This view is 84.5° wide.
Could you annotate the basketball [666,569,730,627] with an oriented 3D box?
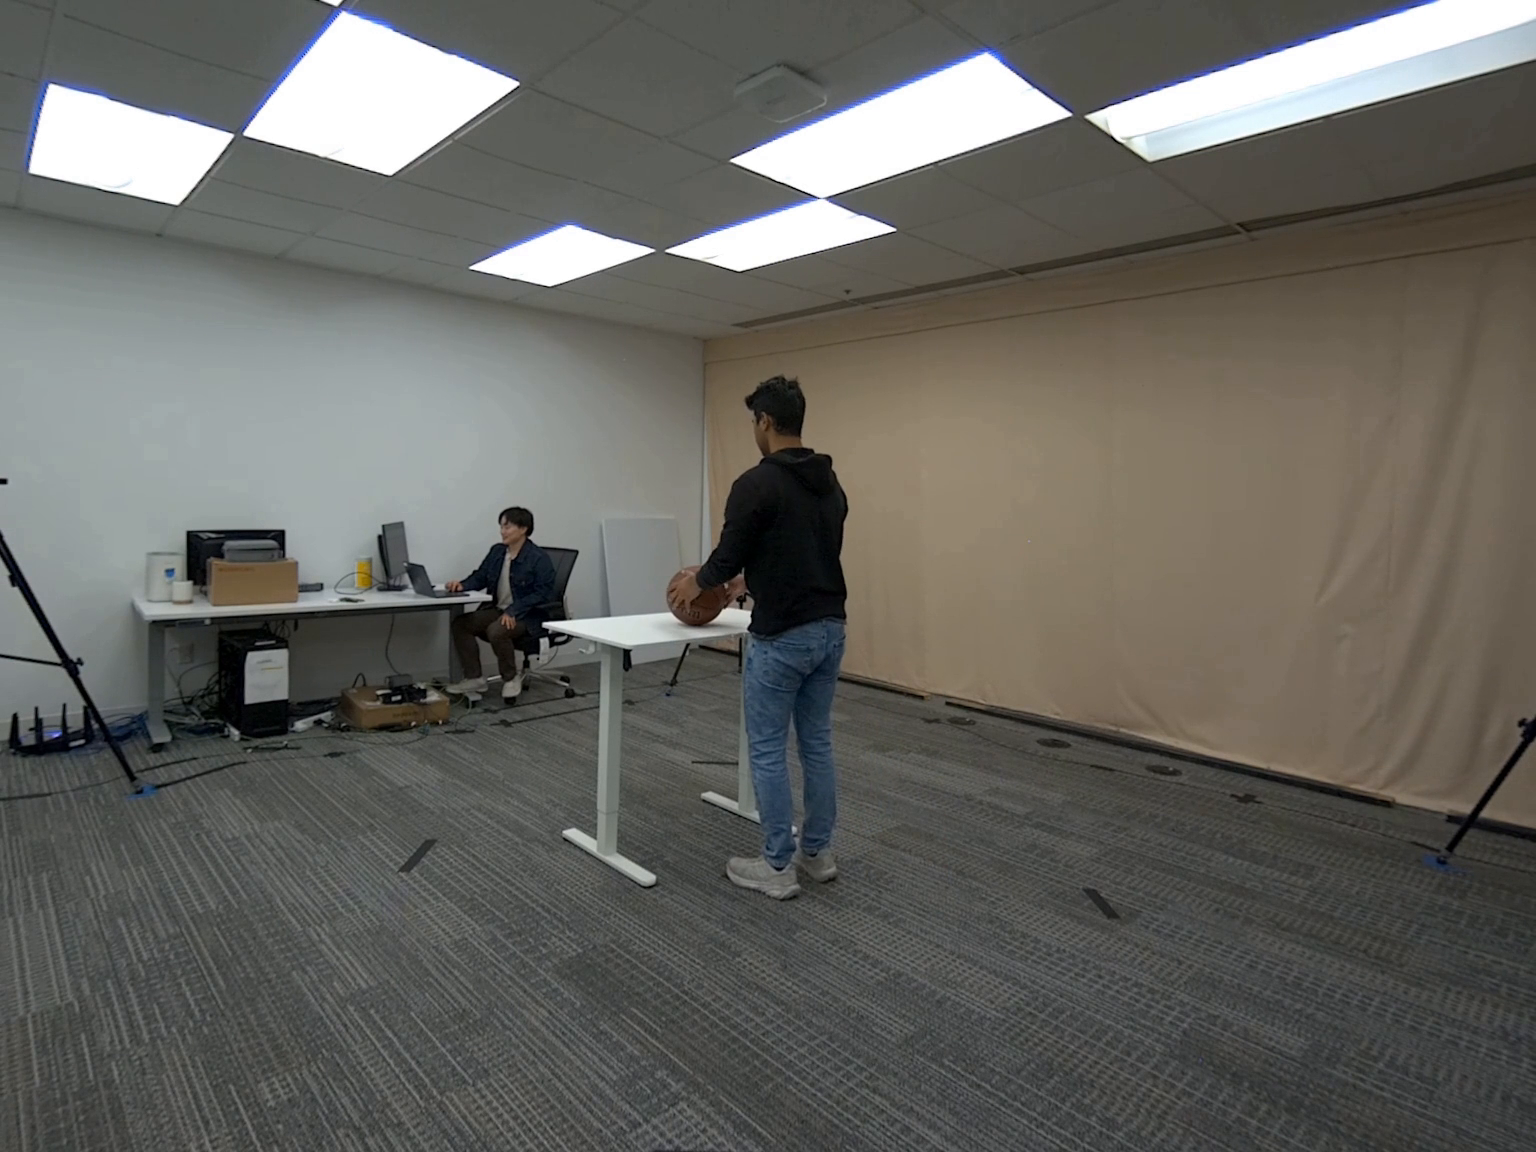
[{"bbox_3d":[-0.286,0.076,3.367,0.236,0.235,0.237,1,4,-1],"label":"basketball"}]
